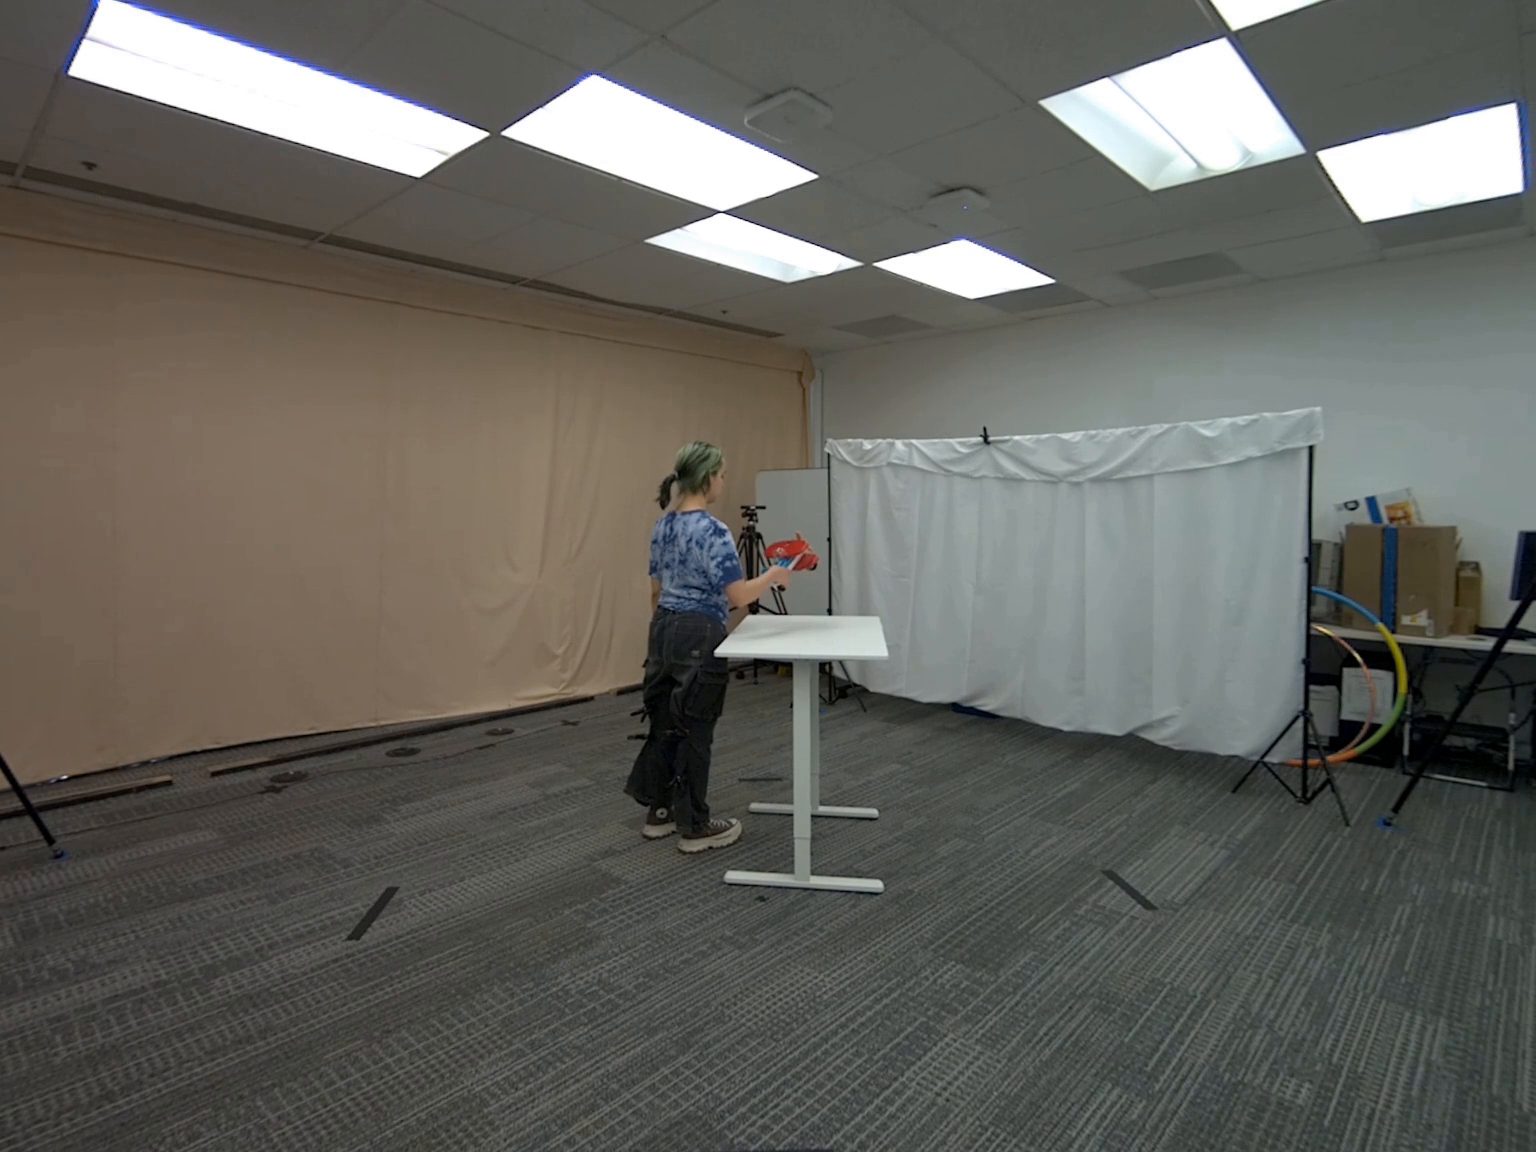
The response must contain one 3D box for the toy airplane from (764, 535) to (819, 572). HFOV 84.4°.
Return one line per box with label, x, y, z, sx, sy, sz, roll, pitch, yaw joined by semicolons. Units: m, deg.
toy airplane;0.095;-0.048;3.531;0.256;0.154;0.258;-17;19;27
